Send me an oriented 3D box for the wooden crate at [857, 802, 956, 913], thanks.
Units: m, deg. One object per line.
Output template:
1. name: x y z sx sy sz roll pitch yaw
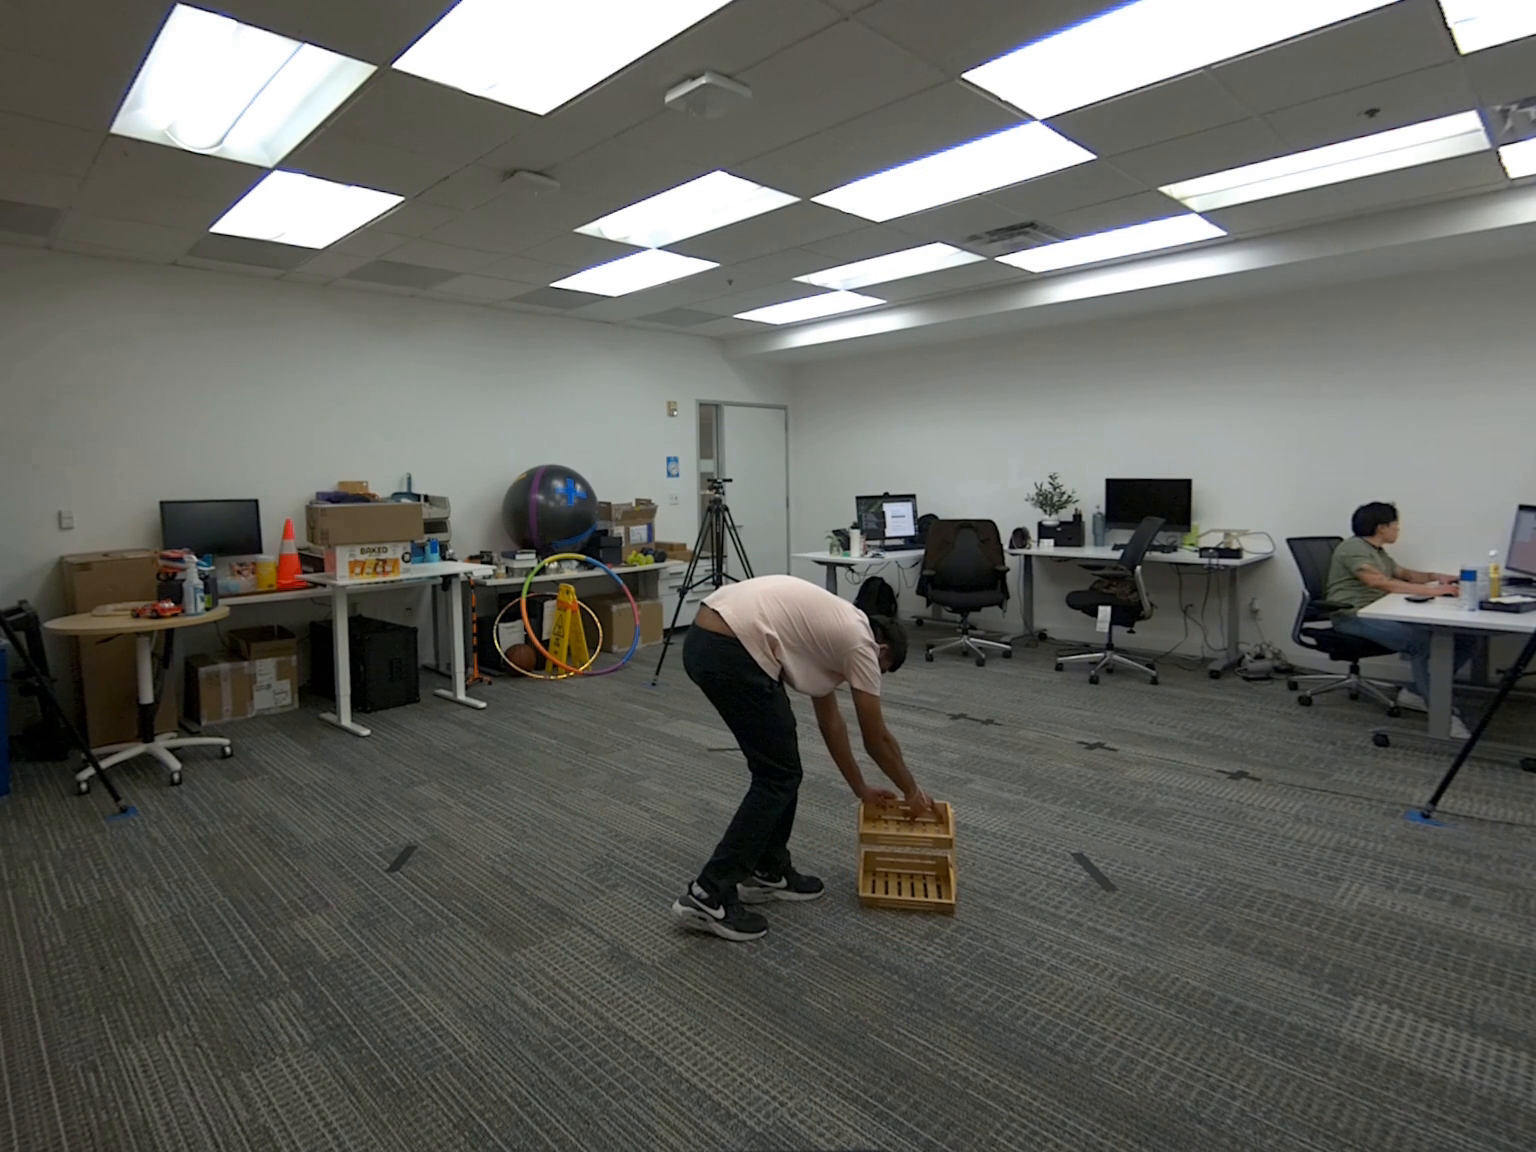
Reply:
1. wooden crate: 0.471 0.930 2.875 0.327 0.272 0.300 0 4 7
